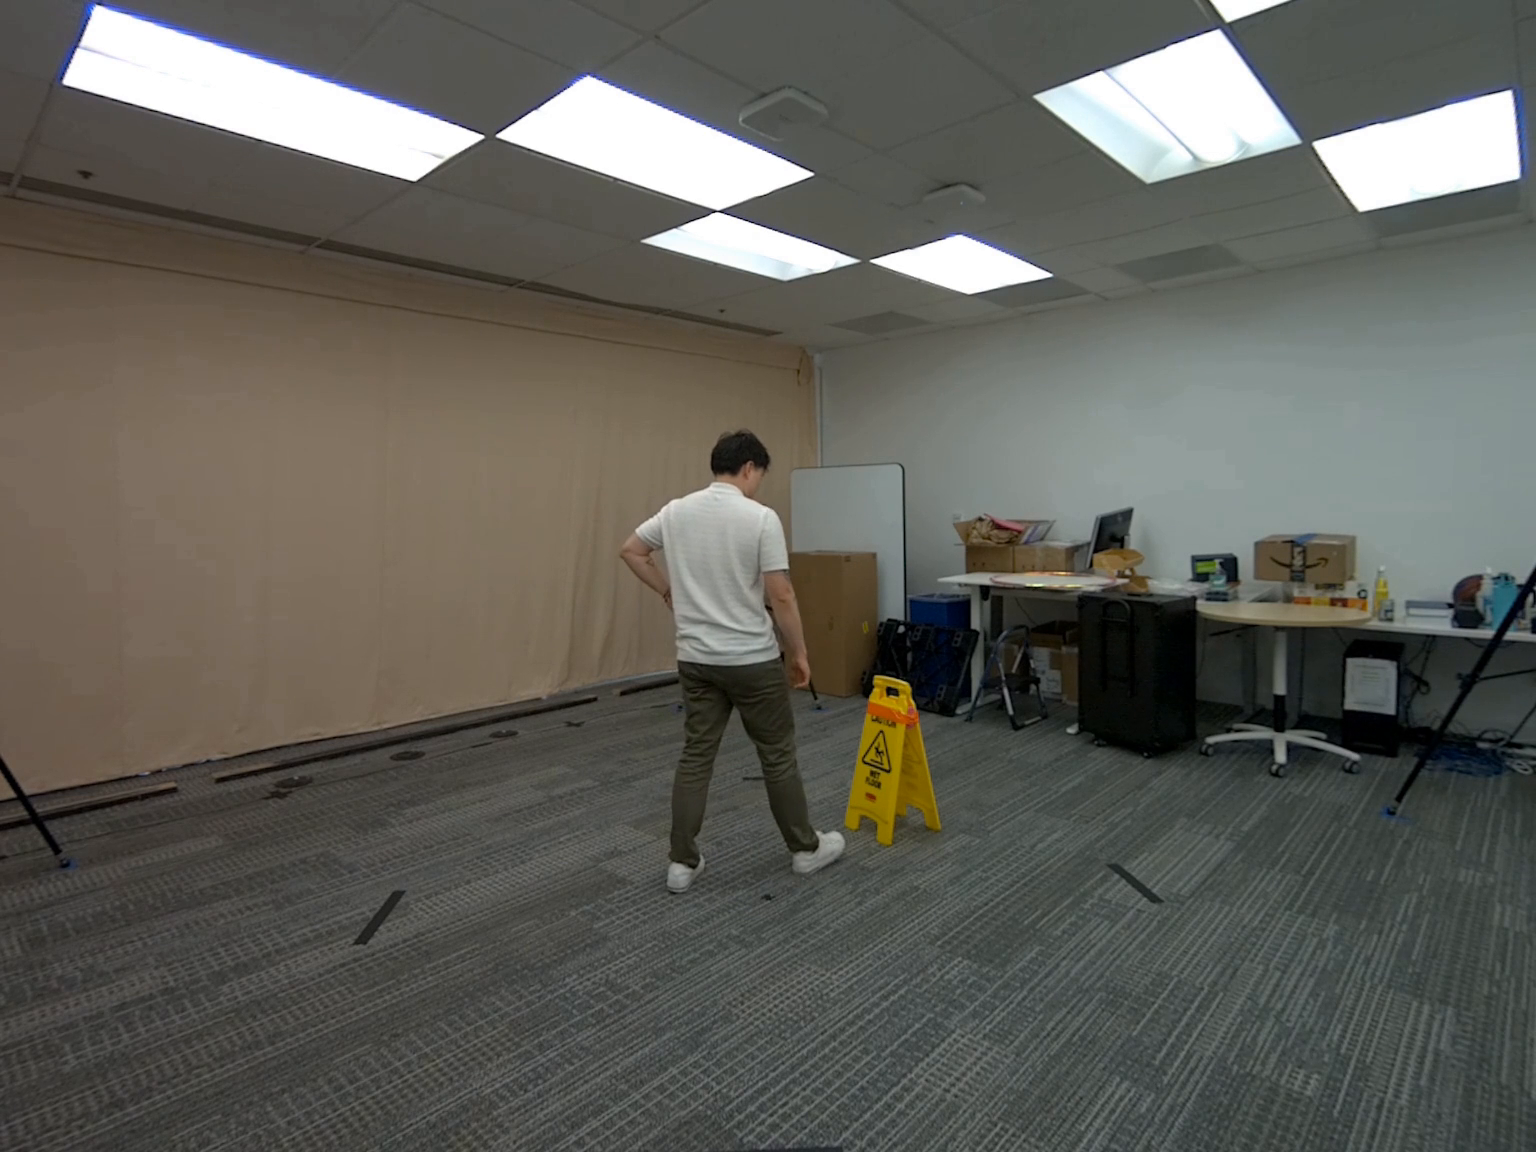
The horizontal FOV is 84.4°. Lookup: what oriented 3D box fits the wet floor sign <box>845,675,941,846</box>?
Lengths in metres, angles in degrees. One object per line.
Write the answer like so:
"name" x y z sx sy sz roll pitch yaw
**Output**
"wet floor sign" 0.531 0.757 3.583 0.281 0.645 0.291 -2 3 -34
